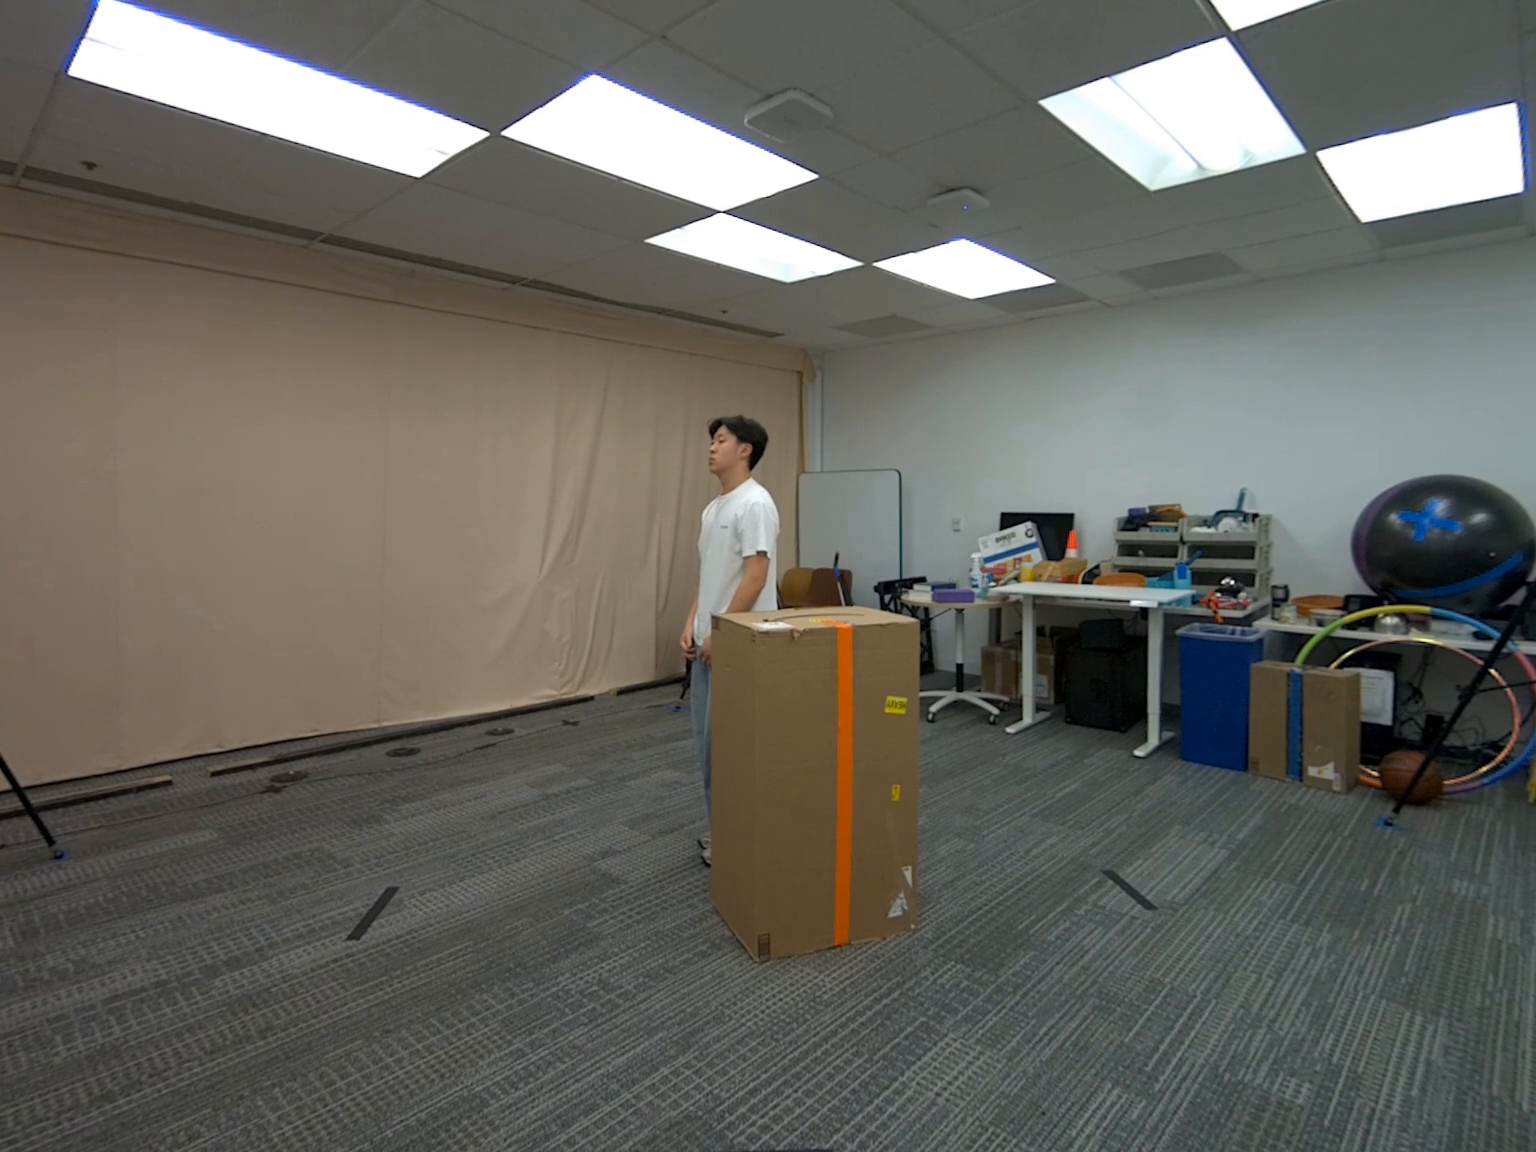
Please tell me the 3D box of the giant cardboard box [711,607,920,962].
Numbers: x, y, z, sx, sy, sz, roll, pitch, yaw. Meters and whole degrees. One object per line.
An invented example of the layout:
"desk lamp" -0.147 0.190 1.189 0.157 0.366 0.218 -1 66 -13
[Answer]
"giant cardboard box" 0.152 0.646 2.829 0.565 1.024 0.436 -1 3 -22
